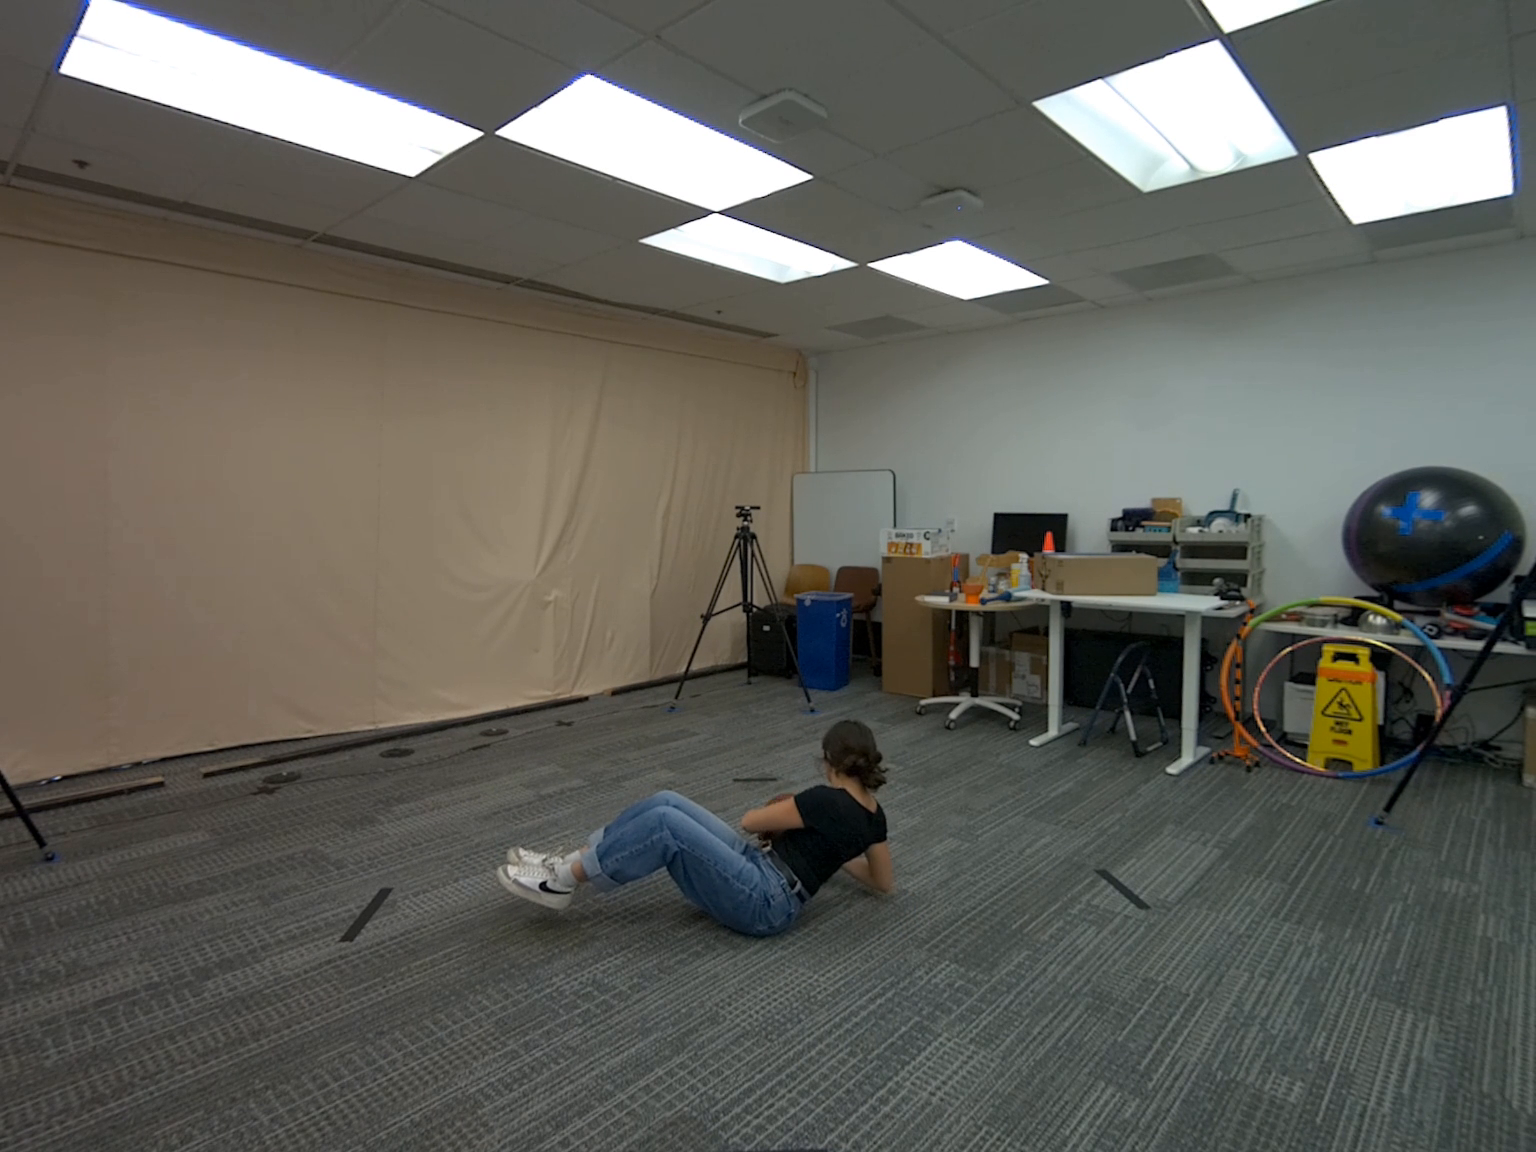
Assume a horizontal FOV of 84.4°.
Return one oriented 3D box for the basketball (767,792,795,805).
[{"bbox_3d":[0.080,0.934,3.196,0.236,0.235,0.237,0,4,-2],"label":"basketball"}]
